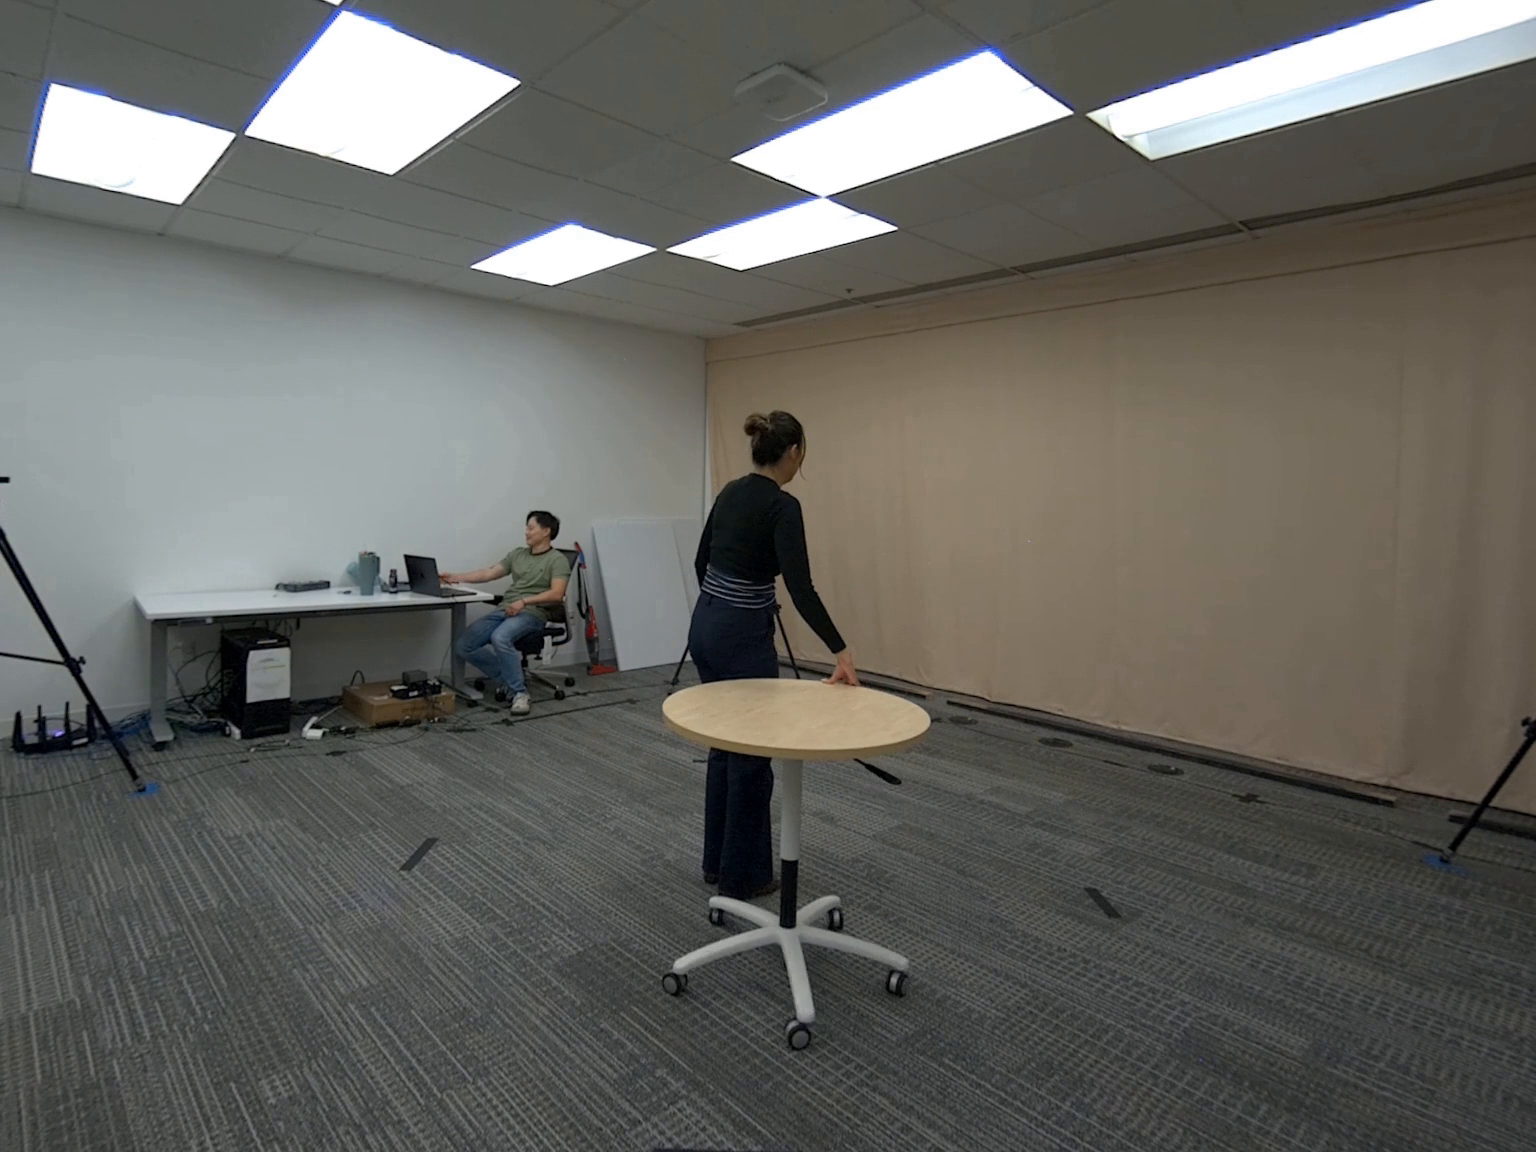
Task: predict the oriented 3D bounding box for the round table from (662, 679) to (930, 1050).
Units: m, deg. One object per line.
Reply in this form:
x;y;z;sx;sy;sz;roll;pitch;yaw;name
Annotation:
0.060;0.778;2.464;0.763;0.791;0.767;2;5;-2;round table
